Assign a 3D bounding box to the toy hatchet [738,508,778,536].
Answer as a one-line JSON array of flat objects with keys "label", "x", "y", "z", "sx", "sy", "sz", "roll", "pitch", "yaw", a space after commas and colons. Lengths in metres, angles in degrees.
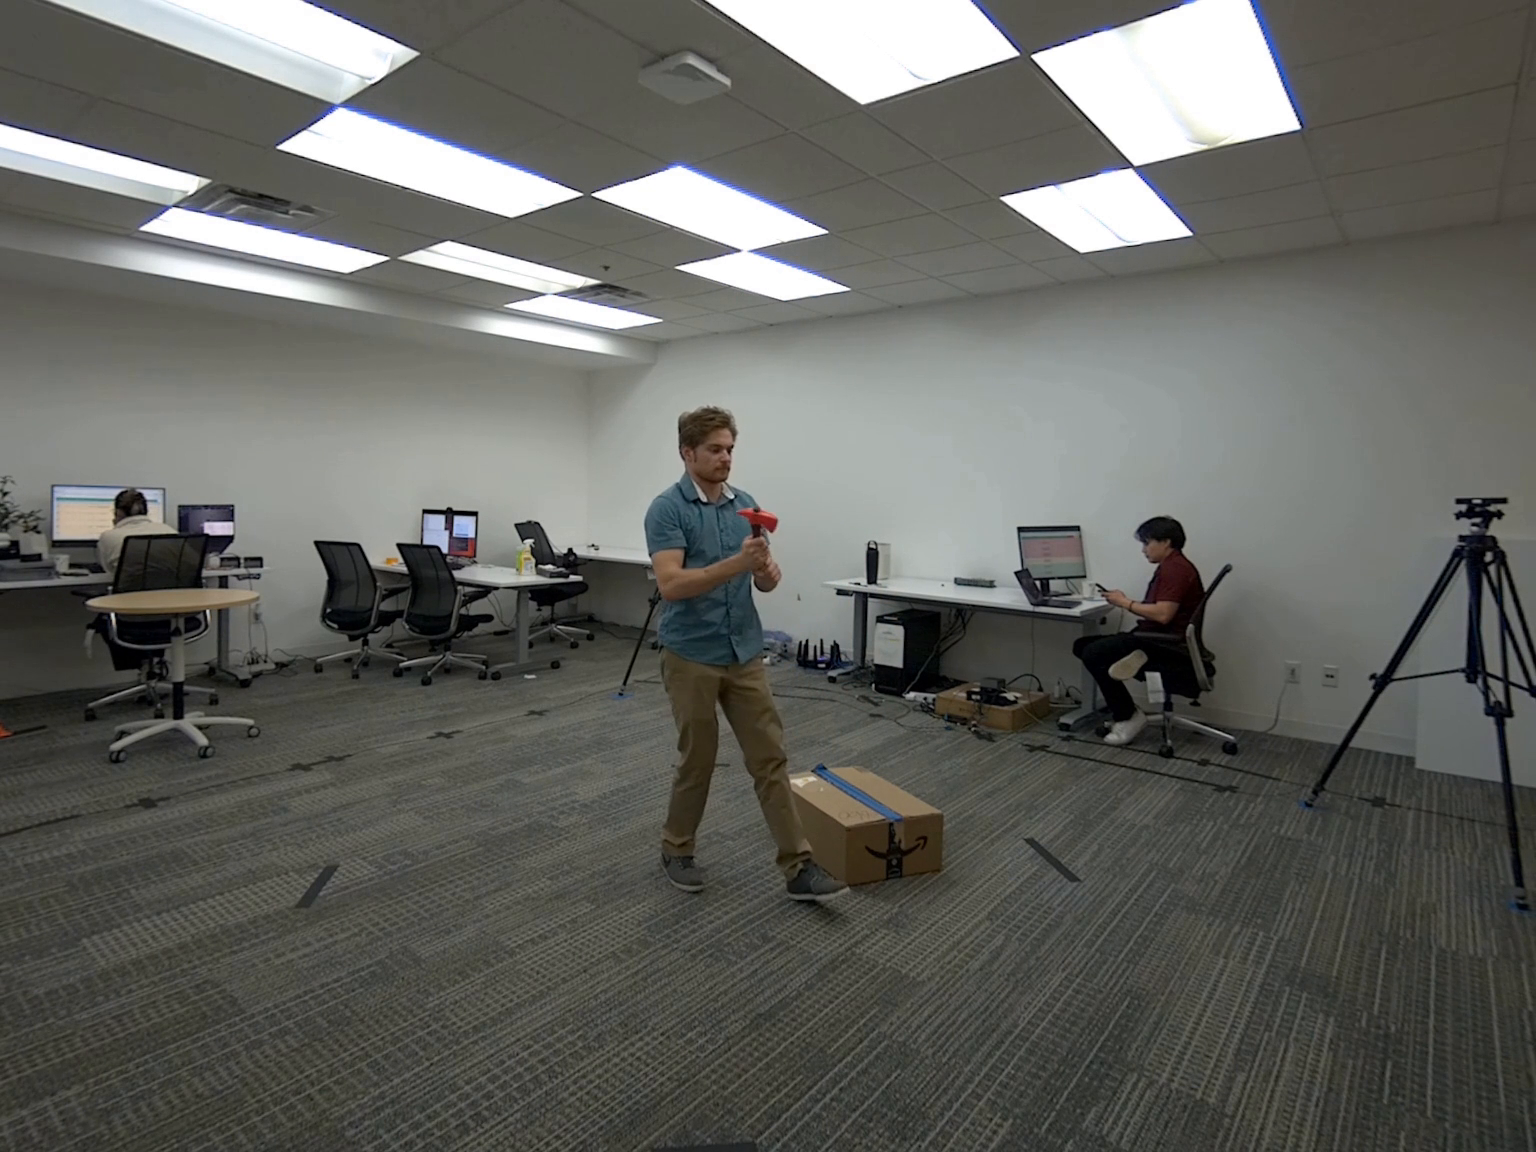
[{"label": "toy hatchet", "x": -0.006, "y": -0.102, "z": 2.676, "sx": 0.134, "sy": 0.261, "sz": 0.030, "roll": -4, "pitch": 35, "yaw": 25}]
